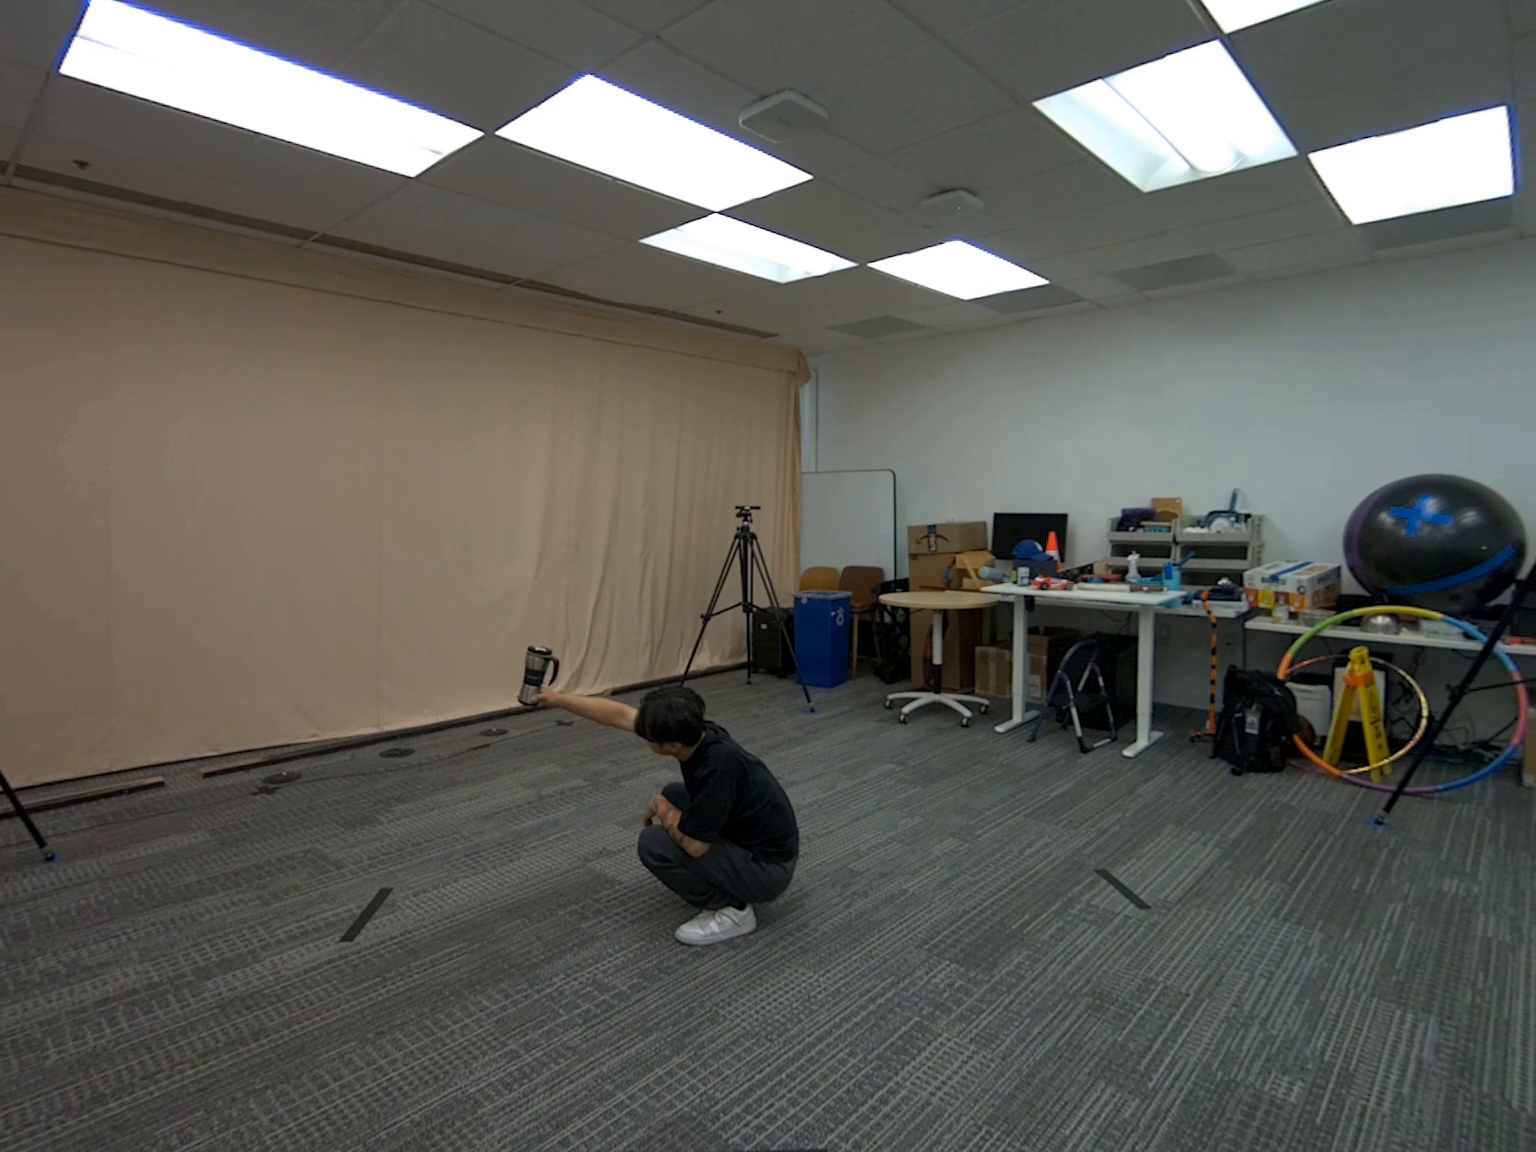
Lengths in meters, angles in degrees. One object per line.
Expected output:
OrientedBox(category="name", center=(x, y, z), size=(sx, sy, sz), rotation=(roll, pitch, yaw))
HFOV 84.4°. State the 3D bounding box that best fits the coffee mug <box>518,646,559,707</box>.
OrientedBox(category="coffee mug", center=(-0.799, 0.355, 2.916), size=(0.126, 0.203, 0.085), rotation=(15, 1, 35))
